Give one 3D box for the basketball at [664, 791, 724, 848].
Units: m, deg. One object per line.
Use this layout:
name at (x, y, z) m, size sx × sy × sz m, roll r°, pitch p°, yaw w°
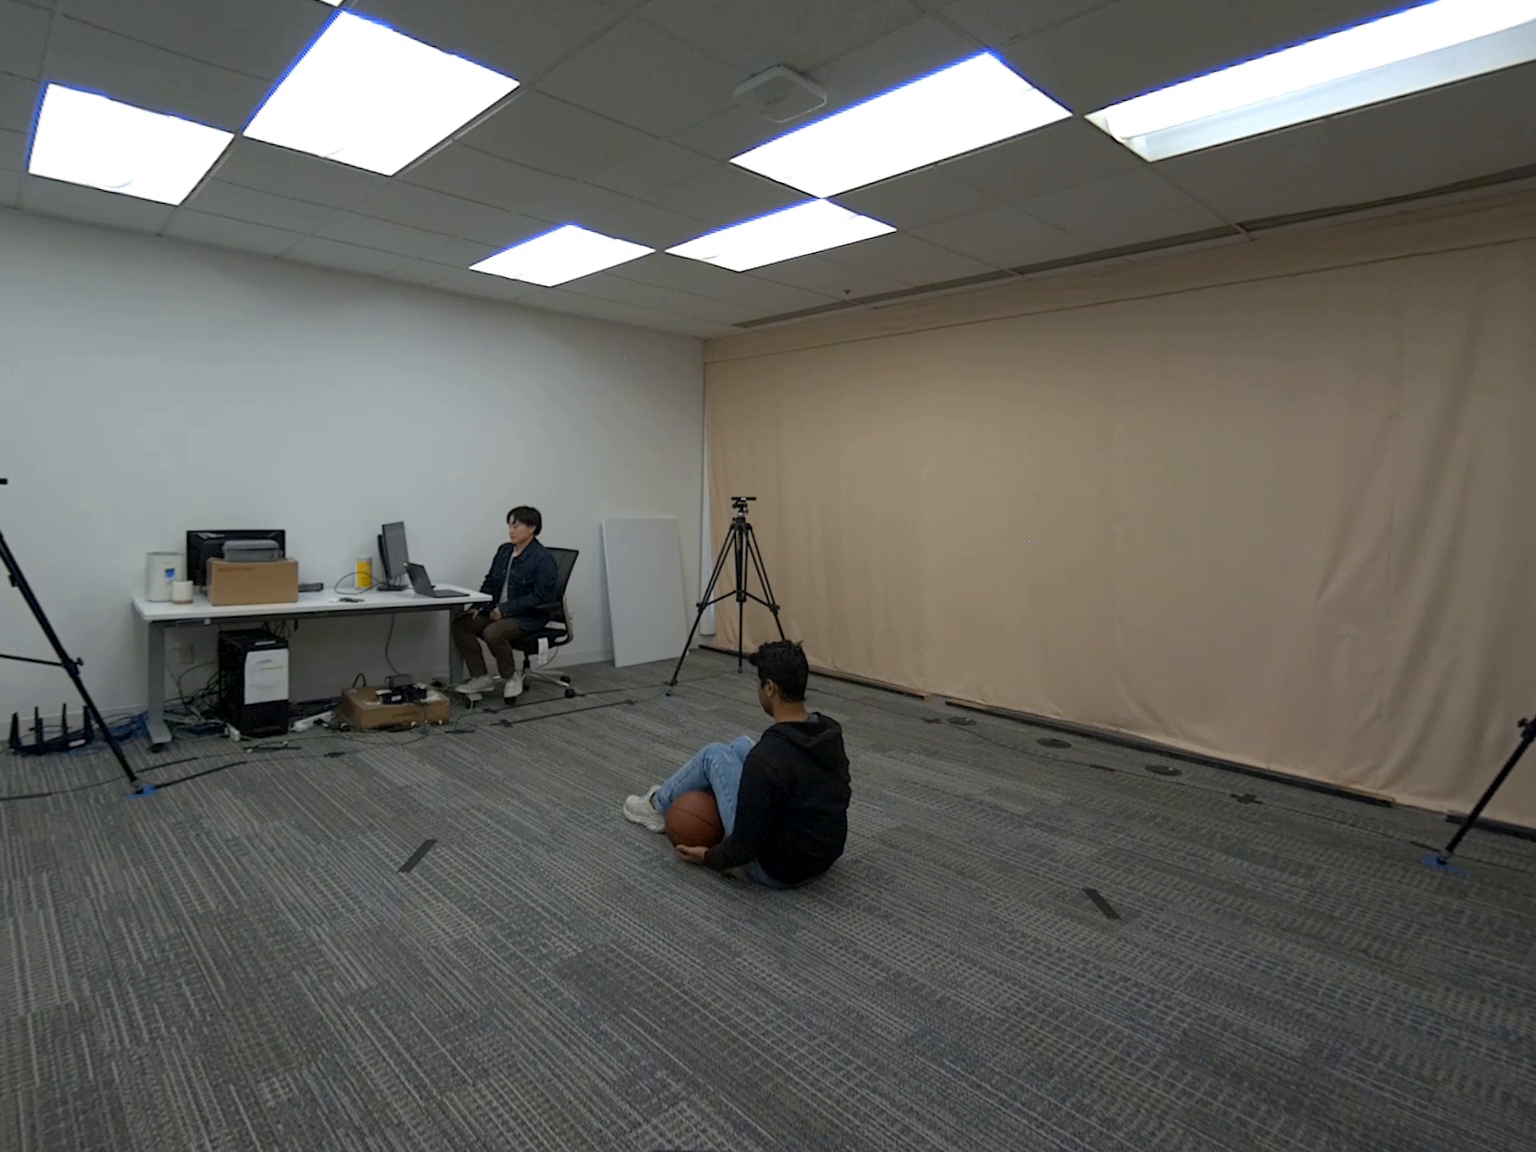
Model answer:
basketball at (-0.293, 0.950, 3.266) m, size 0.236 × 0.235 × 0.237 m, roll 1°, pitch 4°, yaw -1°
